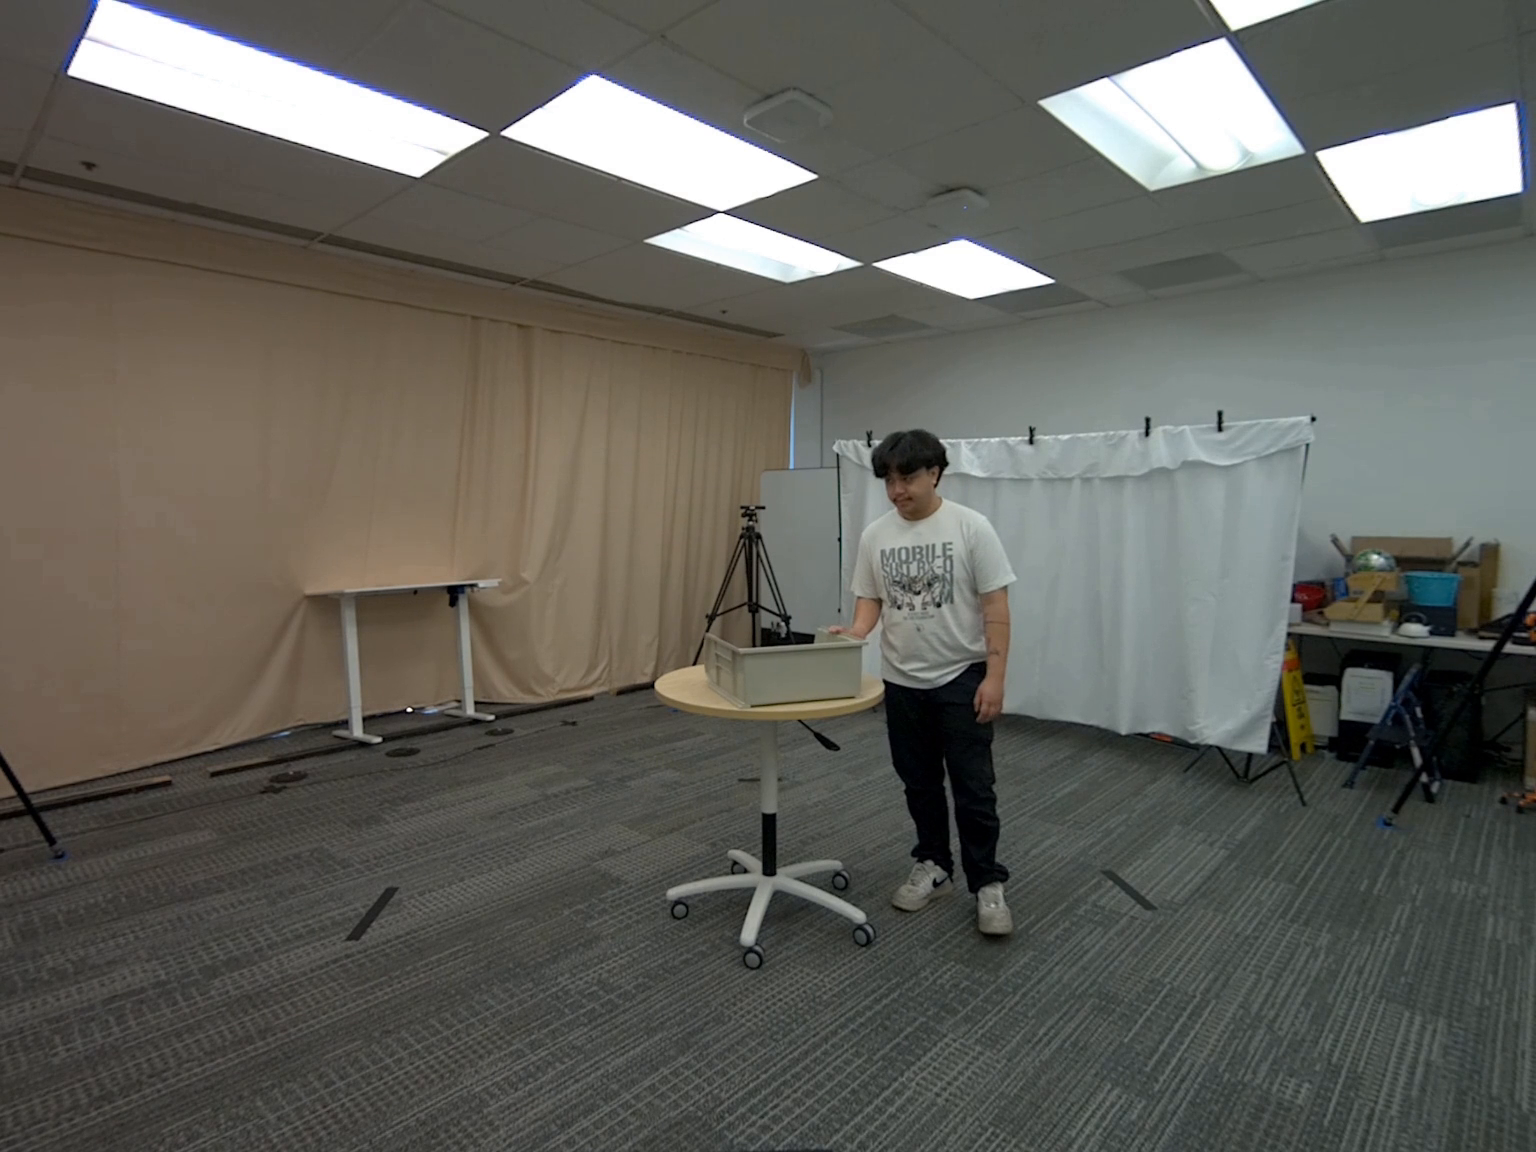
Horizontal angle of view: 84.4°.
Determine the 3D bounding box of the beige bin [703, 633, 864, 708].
[{"bbox_3d":[0.042,0.284,2.694,0.414,0.188,0.386,-2,6,-20],"label":"beige bin"}]
